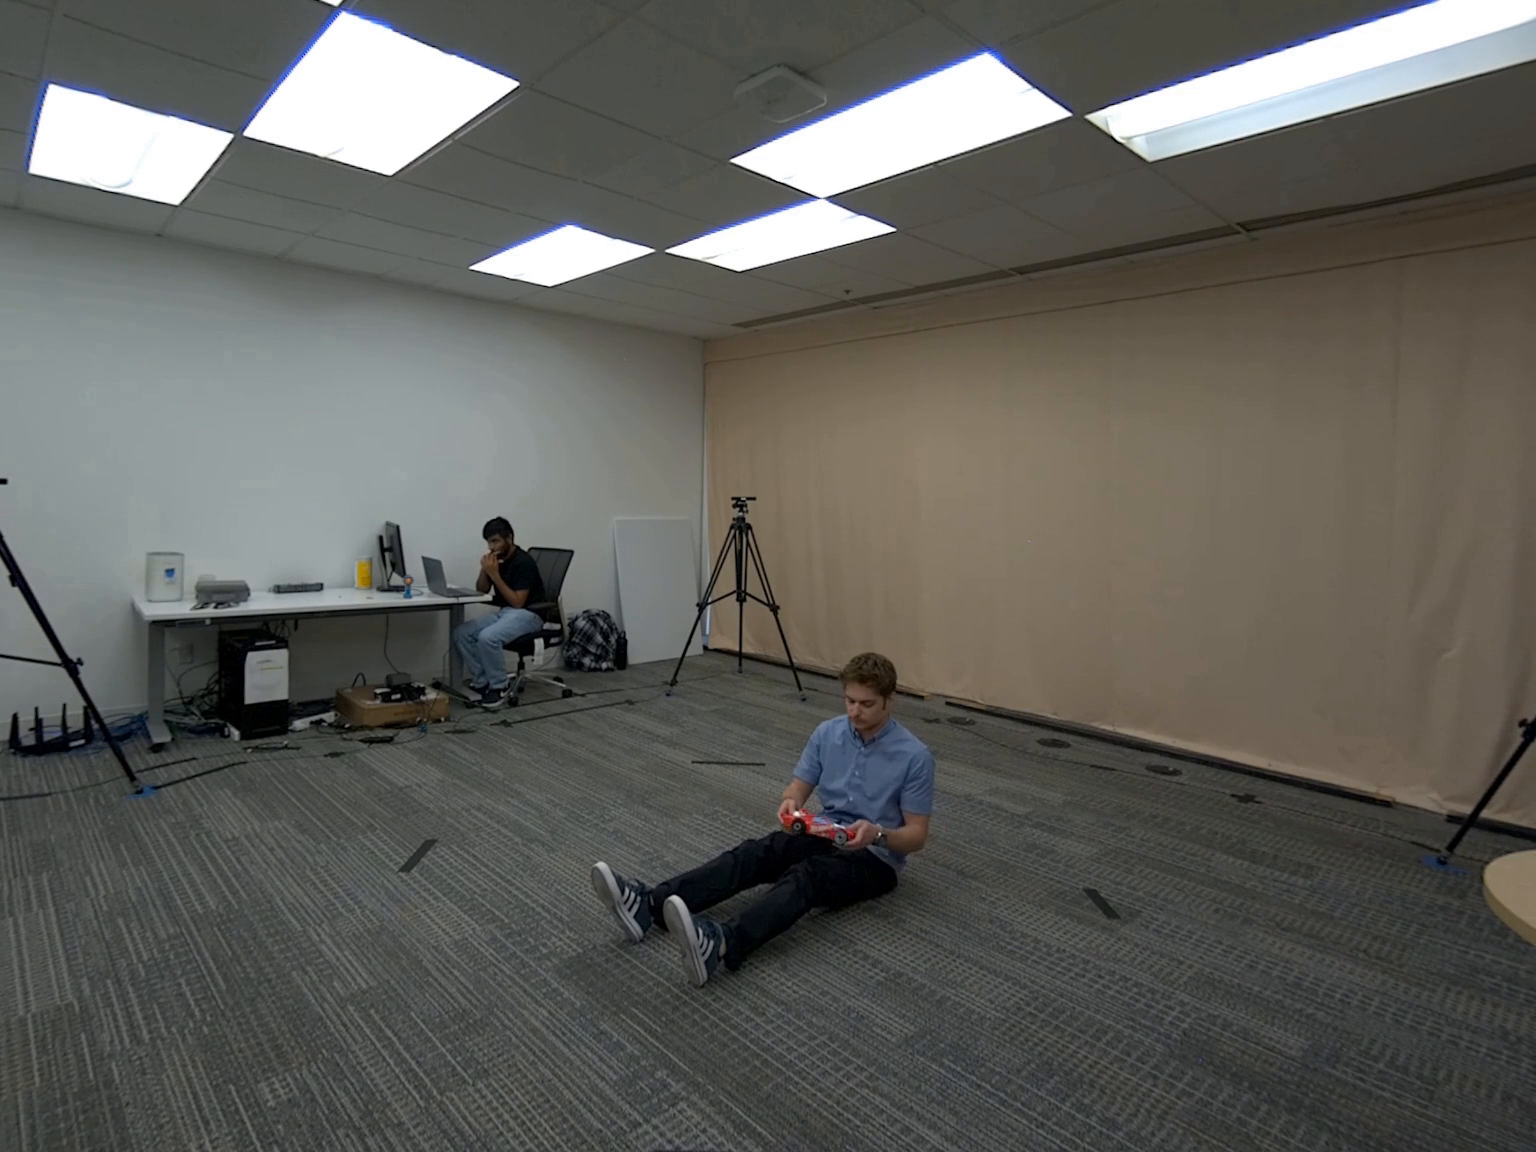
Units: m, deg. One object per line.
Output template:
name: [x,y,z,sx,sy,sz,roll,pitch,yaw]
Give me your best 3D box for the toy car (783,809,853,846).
toy car: [0.167,0.841,2.768,0.260,0.083,0.127,17,-15,26]
